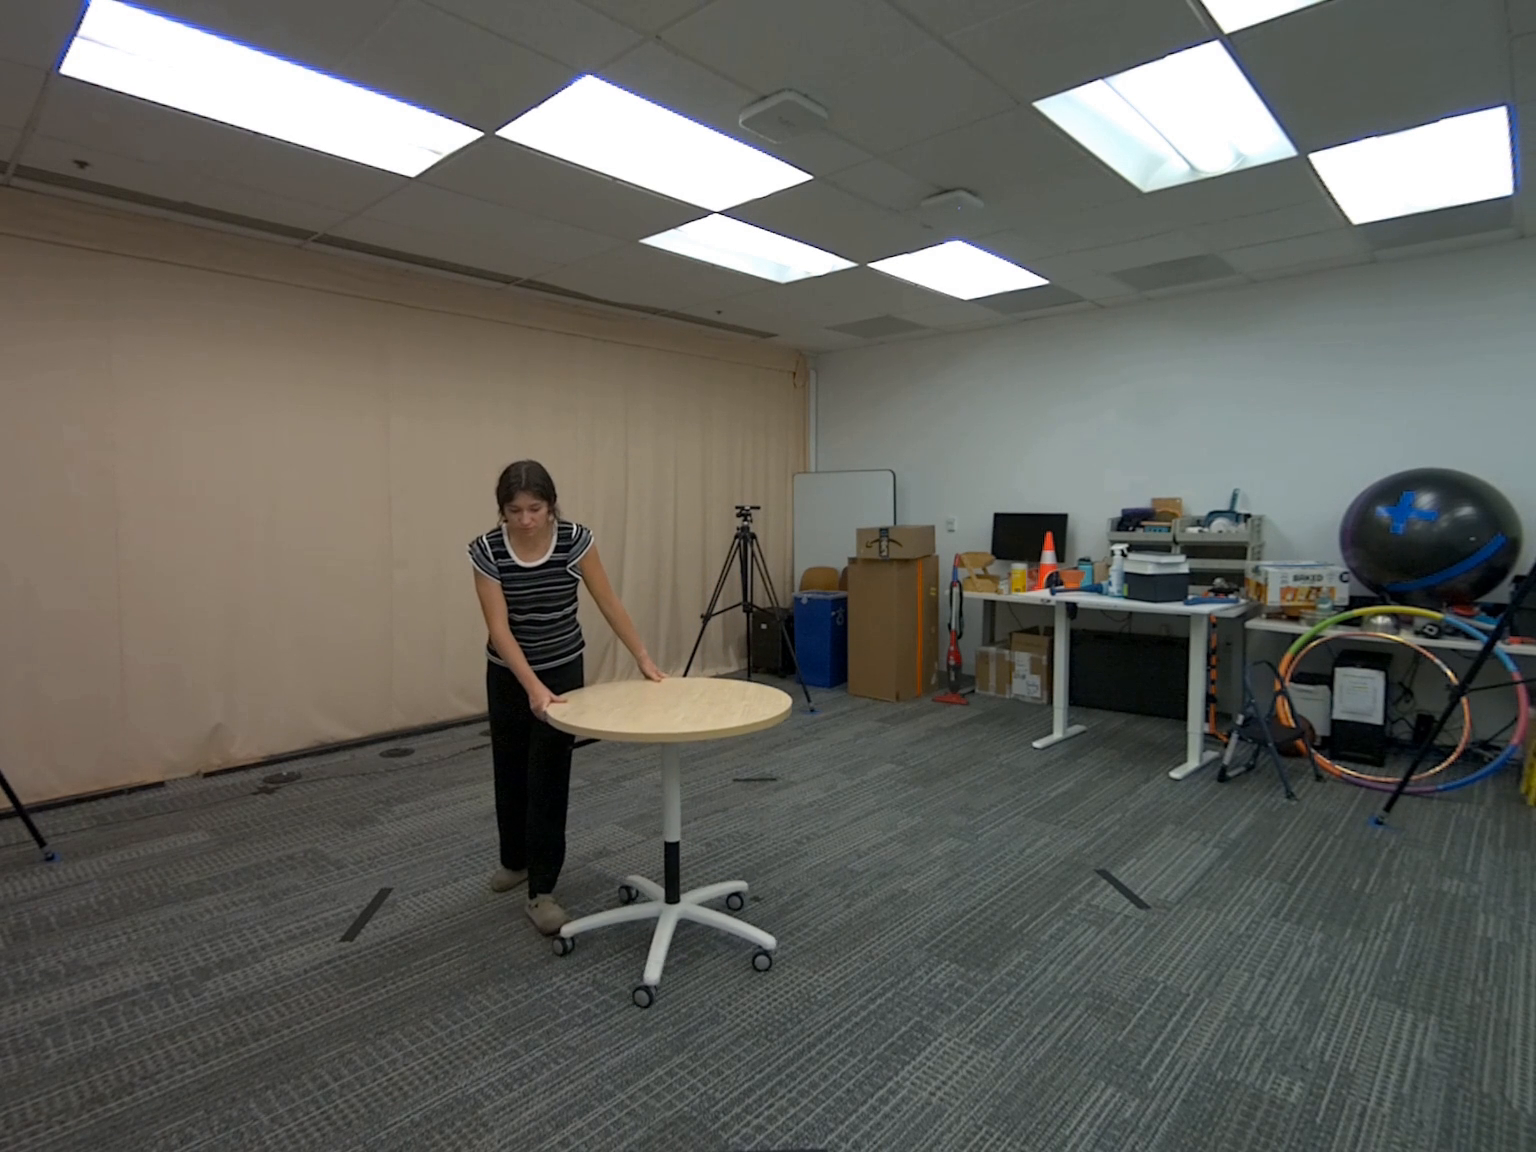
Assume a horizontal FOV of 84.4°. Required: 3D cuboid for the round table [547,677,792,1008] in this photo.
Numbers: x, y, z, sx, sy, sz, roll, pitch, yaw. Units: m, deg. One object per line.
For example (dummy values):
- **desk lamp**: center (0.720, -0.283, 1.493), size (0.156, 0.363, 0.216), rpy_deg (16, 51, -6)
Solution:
- **round table**: center (-0.299, 0.787, 2.657), size (0.763, 0.792, 0.766), rpy_deg (-1, 4, -2)
